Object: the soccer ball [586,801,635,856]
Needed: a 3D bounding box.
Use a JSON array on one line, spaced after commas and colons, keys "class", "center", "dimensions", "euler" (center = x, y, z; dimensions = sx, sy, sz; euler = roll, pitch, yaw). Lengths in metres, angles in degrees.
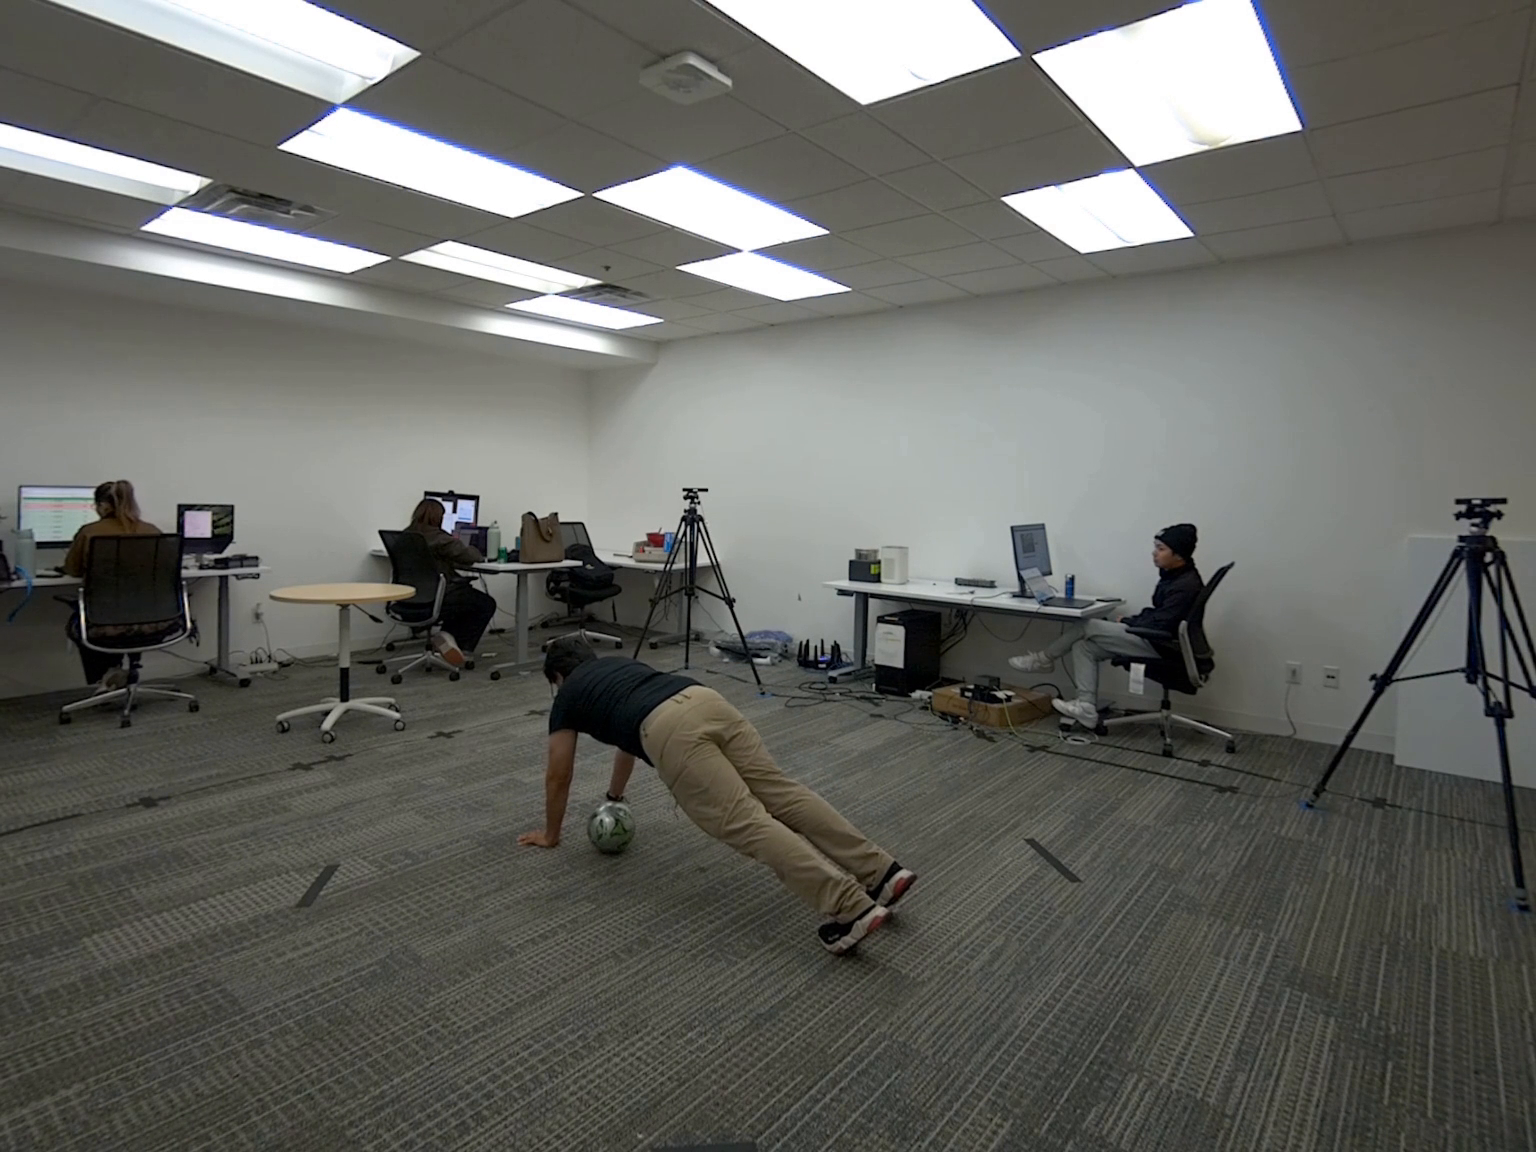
[{"class": "soccer ball", "center": [-0.613, 0.965, 3.247], "dimensions": [0.187, 0.187, 0.188], "euler": [1, 4, -2]}]
